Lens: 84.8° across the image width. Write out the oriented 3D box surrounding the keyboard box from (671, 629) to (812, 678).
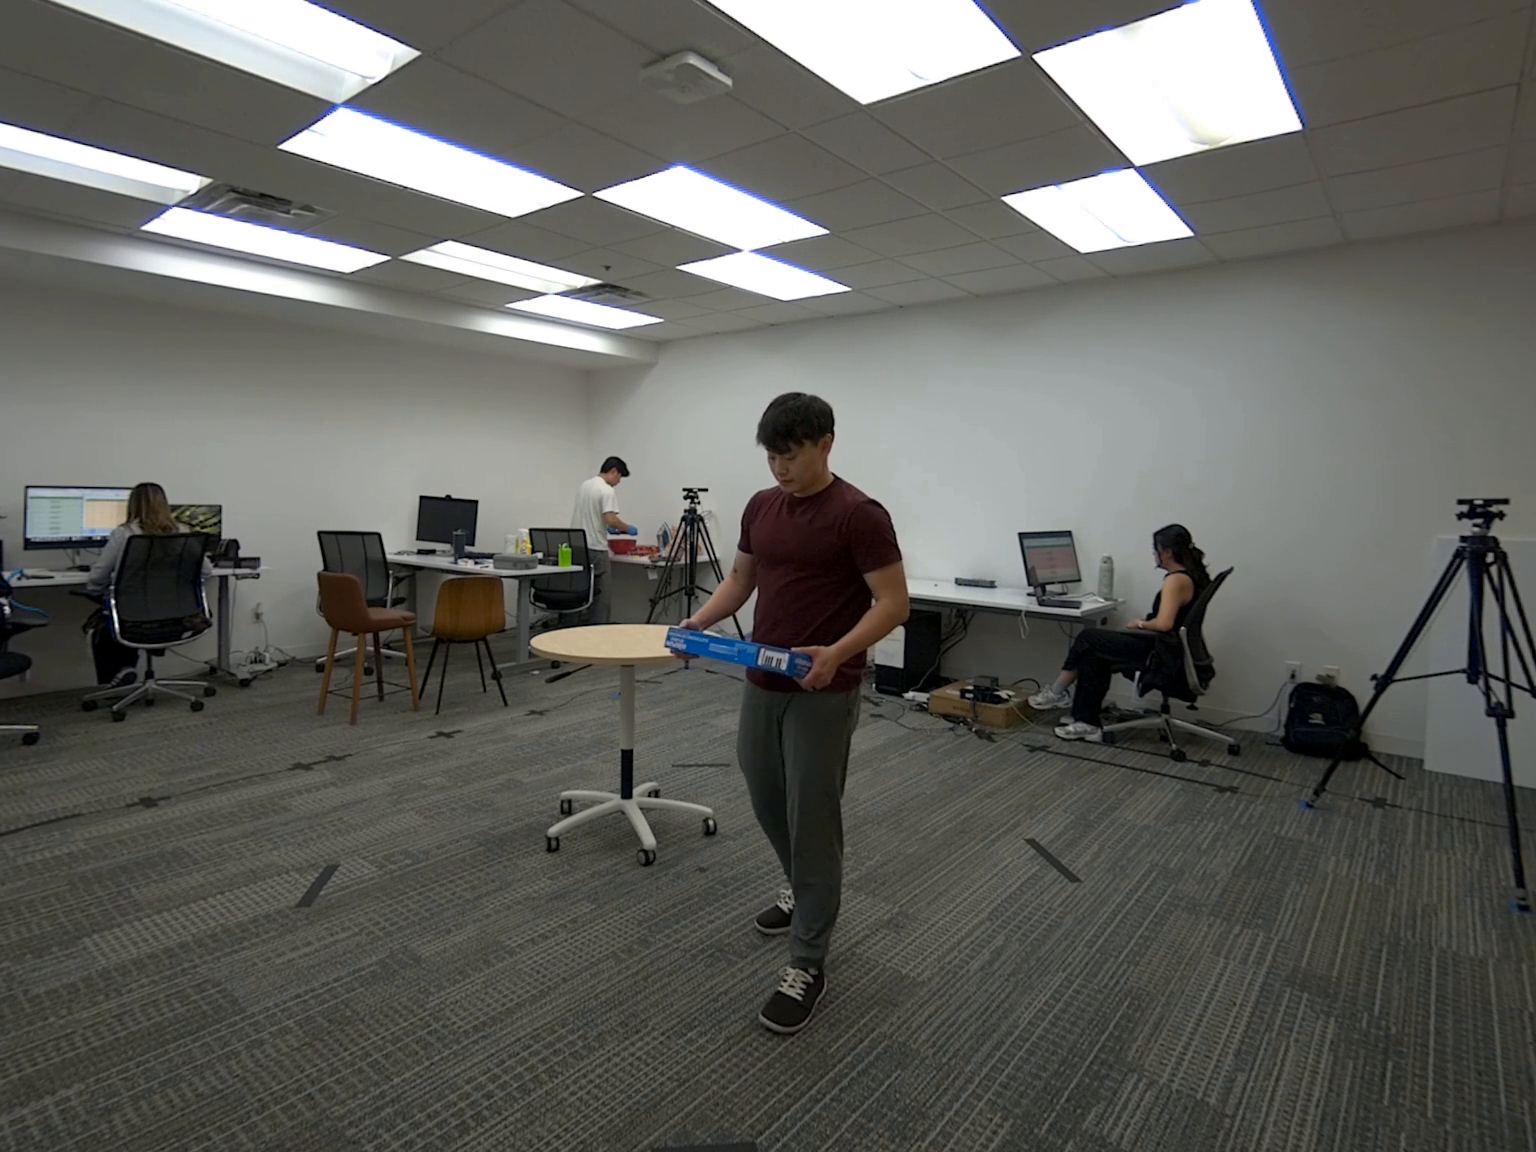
[{"bbox_3d":[-0.039,0.212,2.264,0.451,0.059,0.169,4,-13,38],"label":"keyboard box"}]
